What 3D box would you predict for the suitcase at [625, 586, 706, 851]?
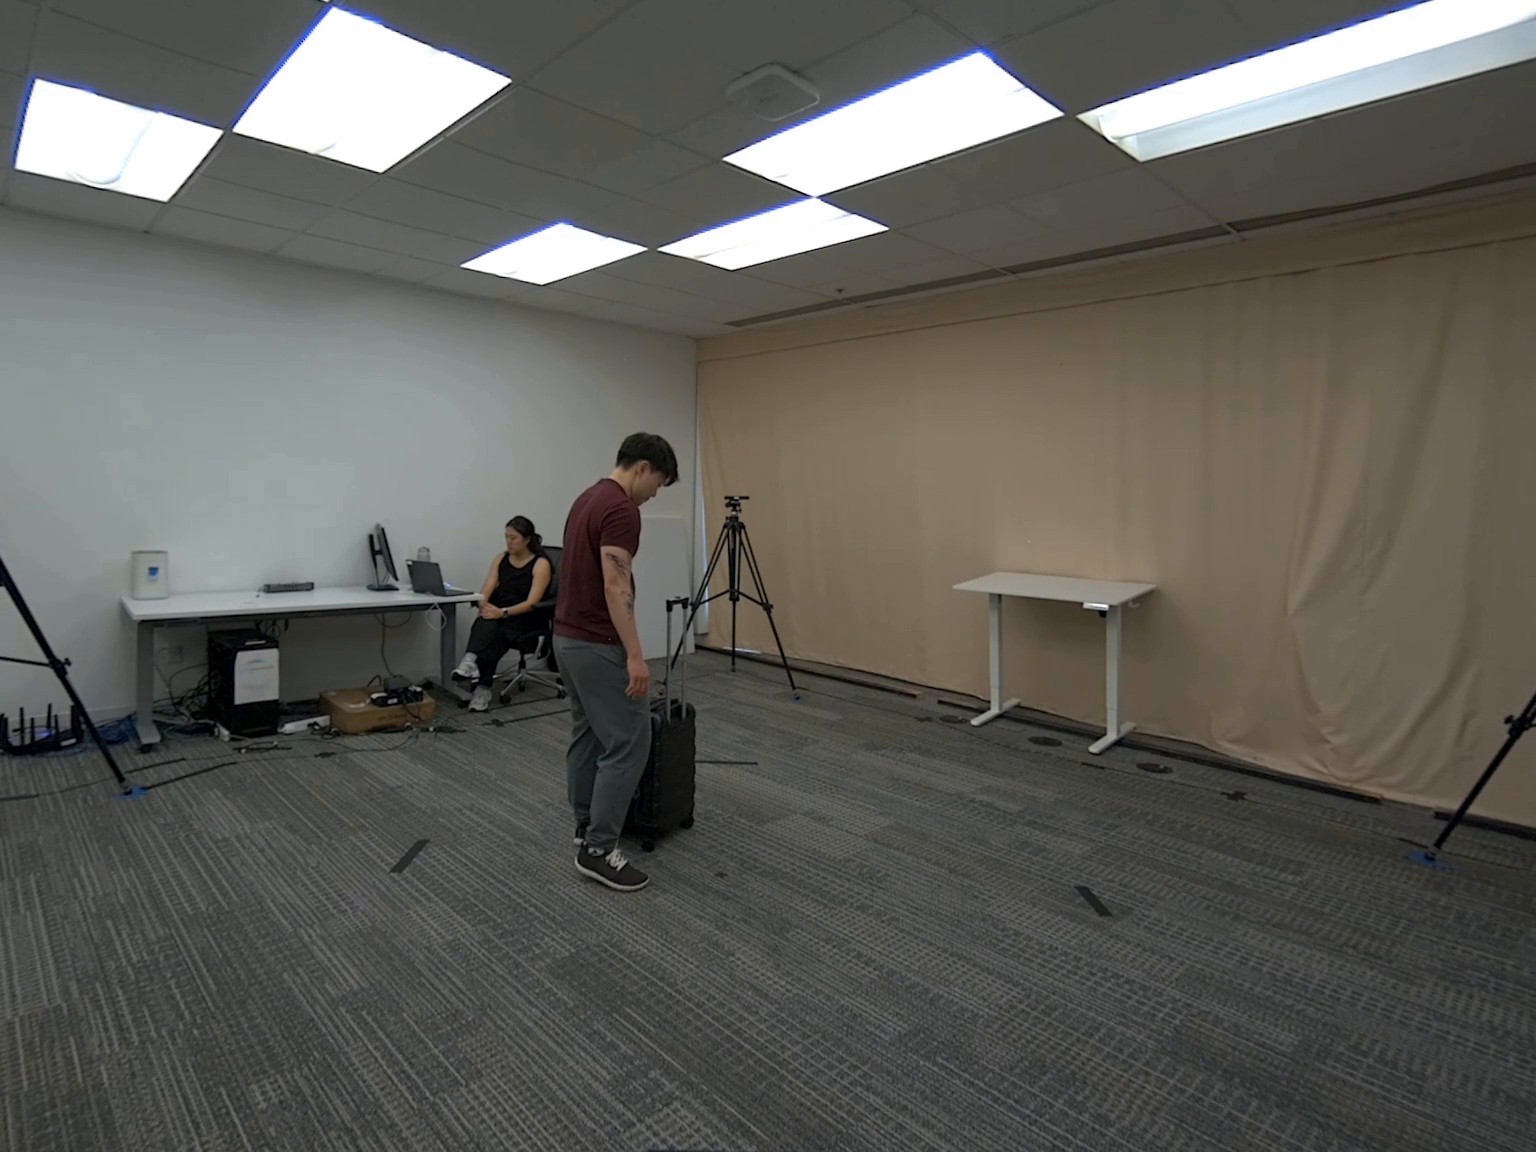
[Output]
[{"bbox_3d":[-0.481,0.585,3.463,0.262,0.977,0.377,1,2,24],"label":"suitcase"}]
